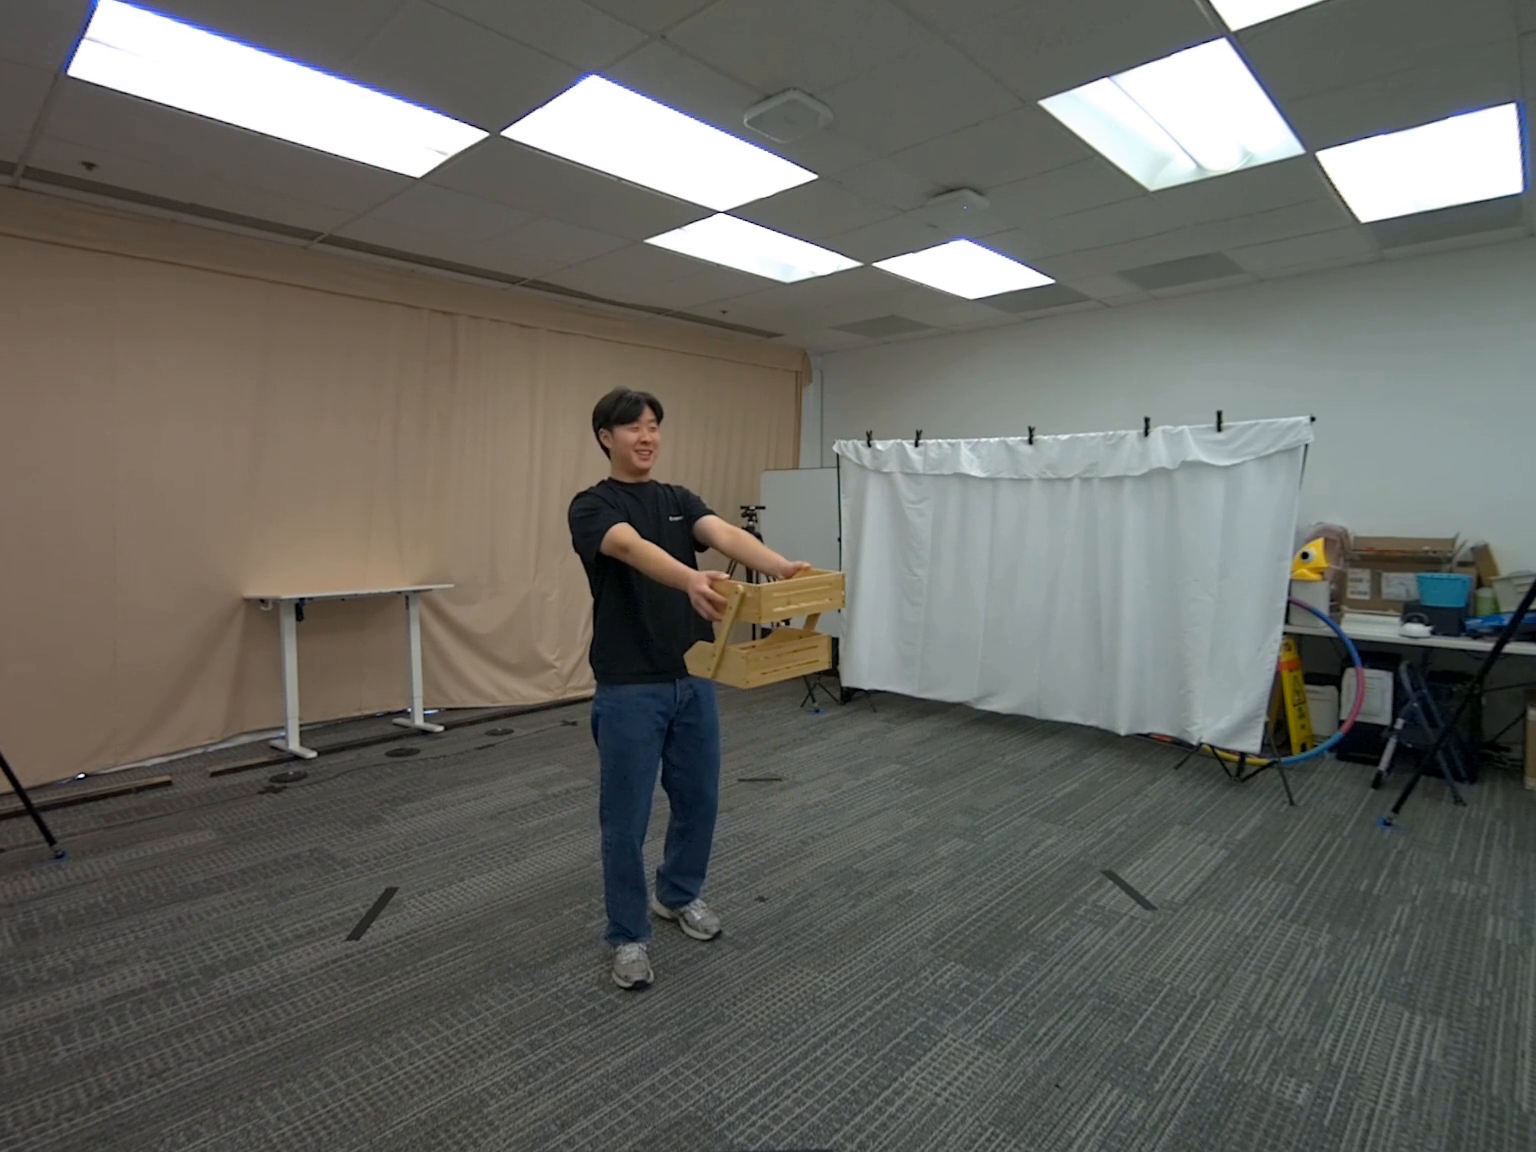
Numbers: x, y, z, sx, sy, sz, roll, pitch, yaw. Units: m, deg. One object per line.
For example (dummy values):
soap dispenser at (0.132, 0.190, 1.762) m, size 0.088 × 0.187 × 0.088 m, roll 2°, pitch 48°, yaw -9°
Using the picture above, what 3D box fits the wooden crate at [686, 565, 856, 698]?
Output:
wooden crate at (0.001, 0.123, 2.207) m, size 0.315 × 0.272 × 0.312 m, roll -7°, pitch 8°, yaw -39°
